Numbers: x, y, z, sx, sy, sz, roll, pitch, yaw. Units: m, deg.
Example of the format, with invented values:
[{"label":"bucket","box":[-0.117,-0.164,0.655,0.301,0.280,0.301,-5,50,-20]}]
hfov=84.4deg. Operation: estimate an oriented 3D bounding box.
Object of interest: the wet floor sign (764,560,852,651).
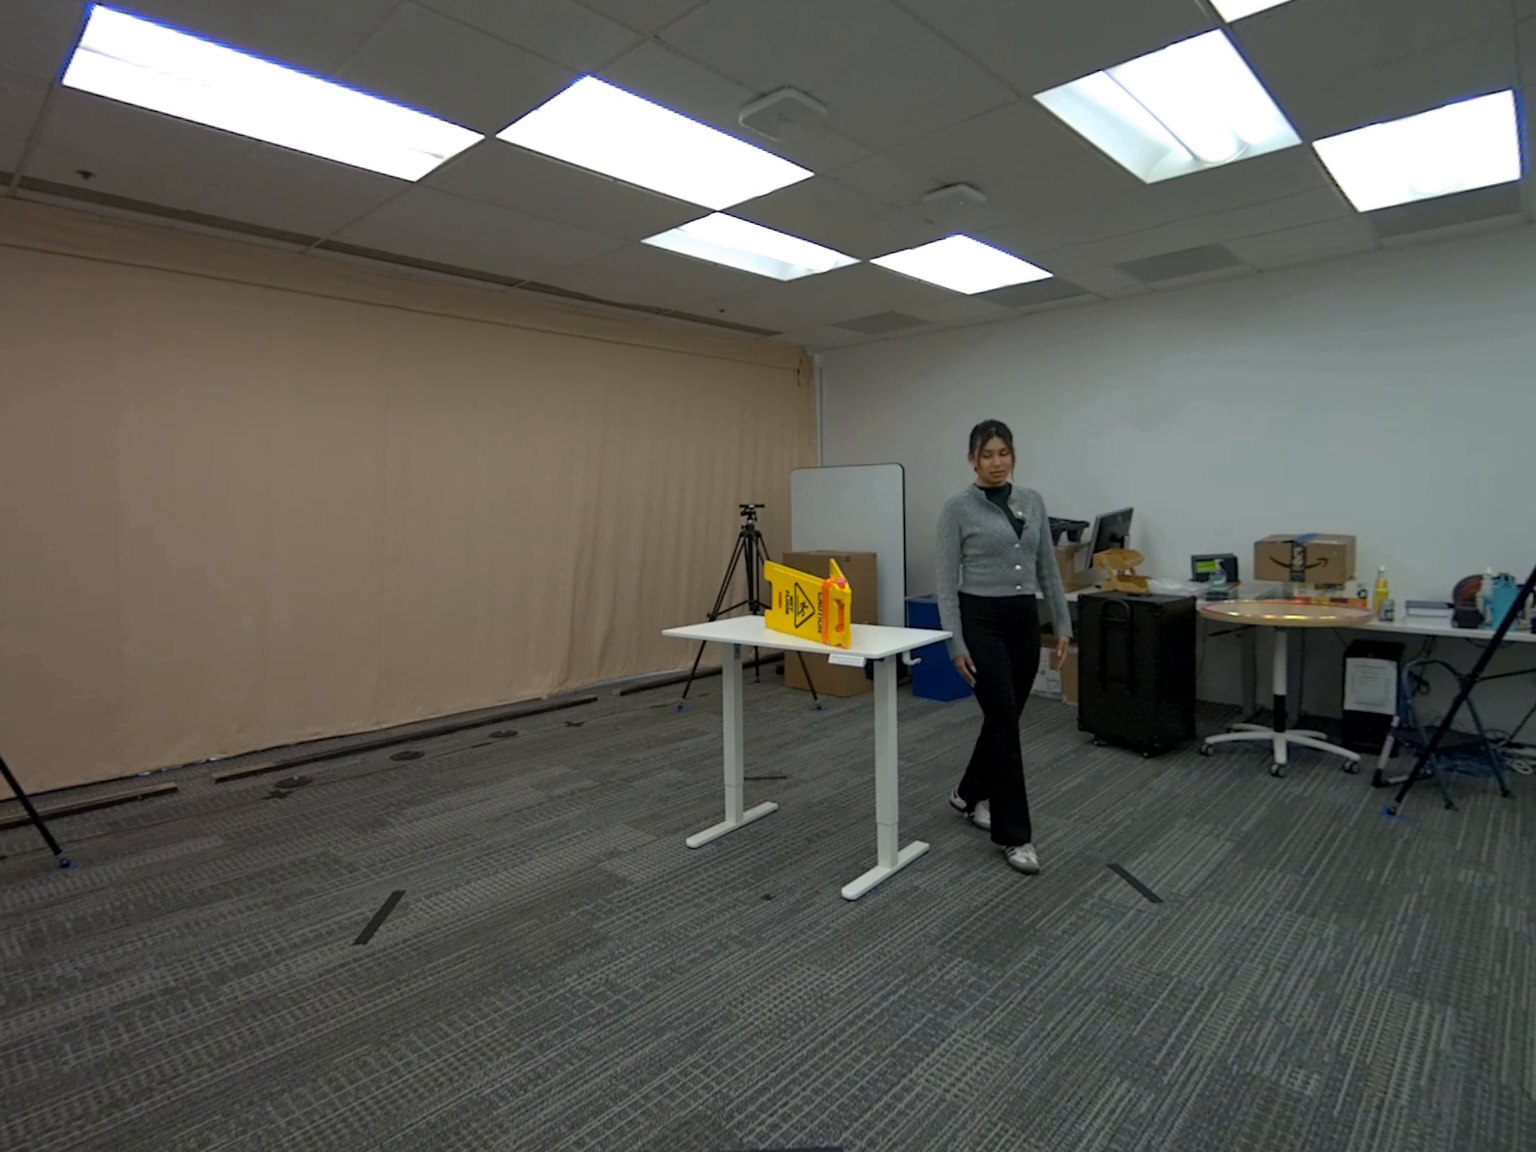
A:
[{"label":"wet floor sign","box":[0.211,0.112,3.211,0.286,0.281,0.657,-2,7,-13]}]
